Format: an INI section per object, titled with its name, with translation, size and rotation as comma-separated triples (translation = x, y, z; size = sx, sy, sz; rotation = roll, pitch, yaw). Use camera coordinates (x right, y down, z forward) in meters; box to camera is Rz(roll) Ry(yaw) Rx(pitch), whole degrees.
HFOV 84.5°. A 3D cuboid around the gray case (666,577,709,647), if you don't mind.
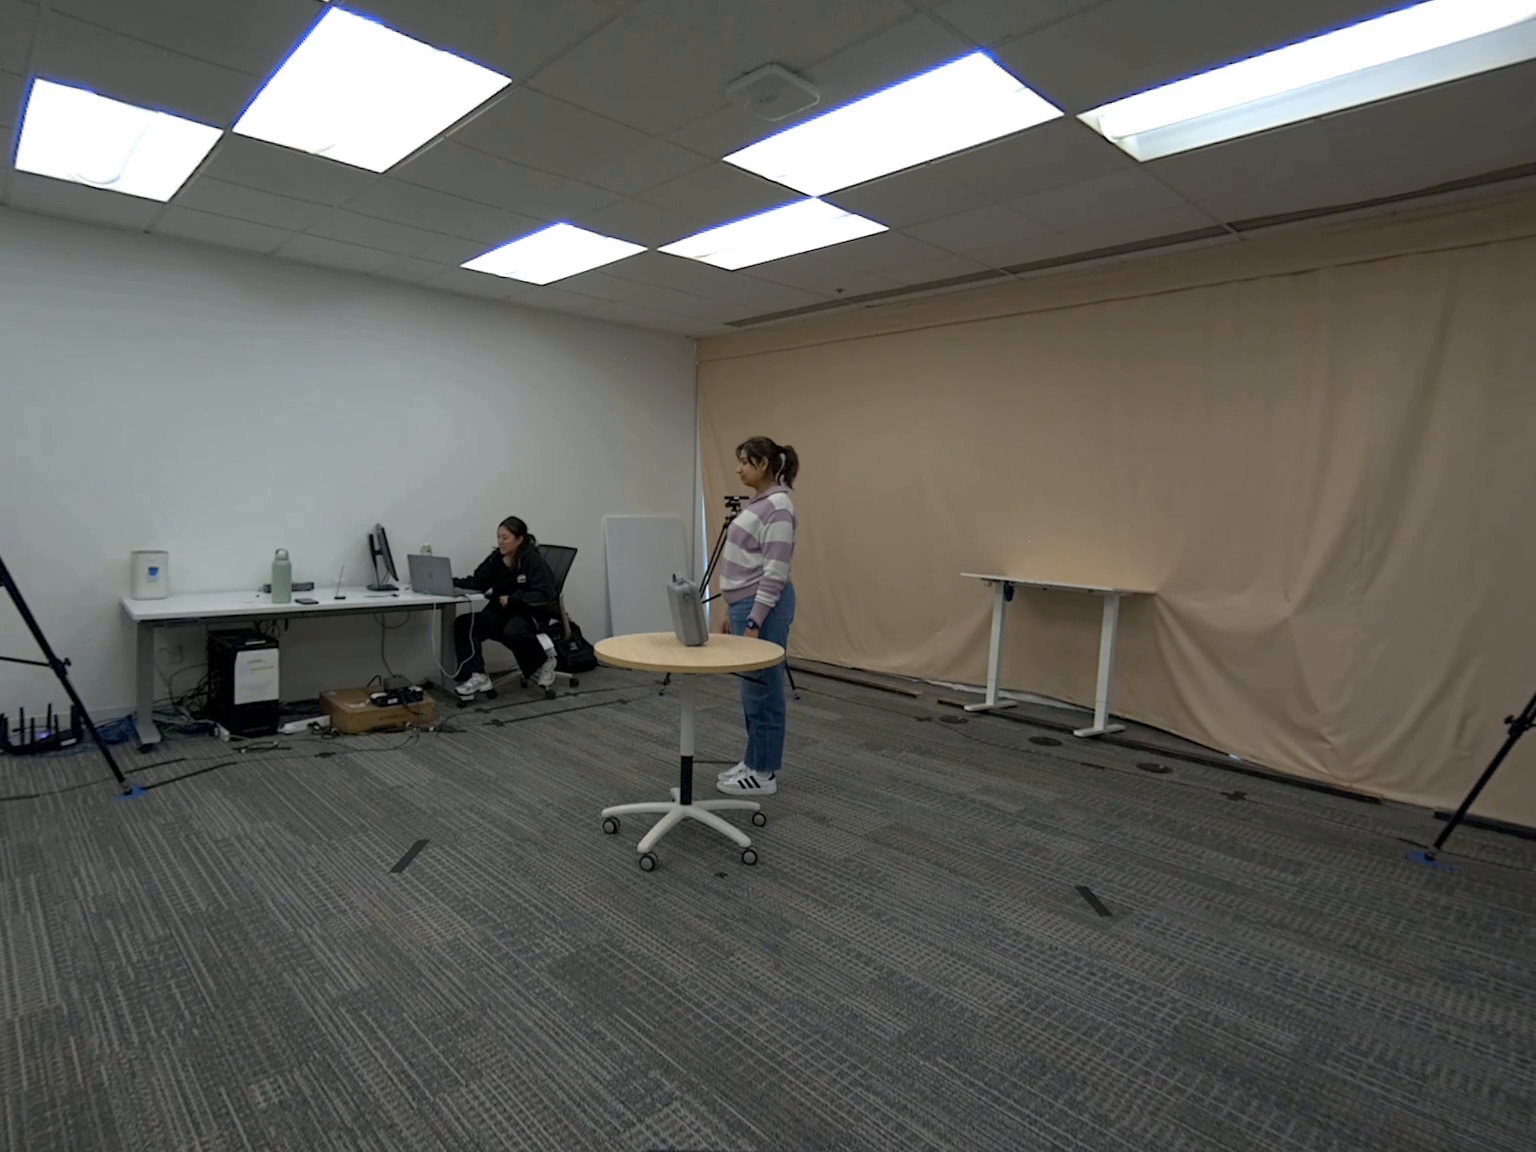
[gray case]
translation = -0.345, 0.149, 3.520
size = 0.103, 0.259, 0.260
rotation = -9, 6, -14
